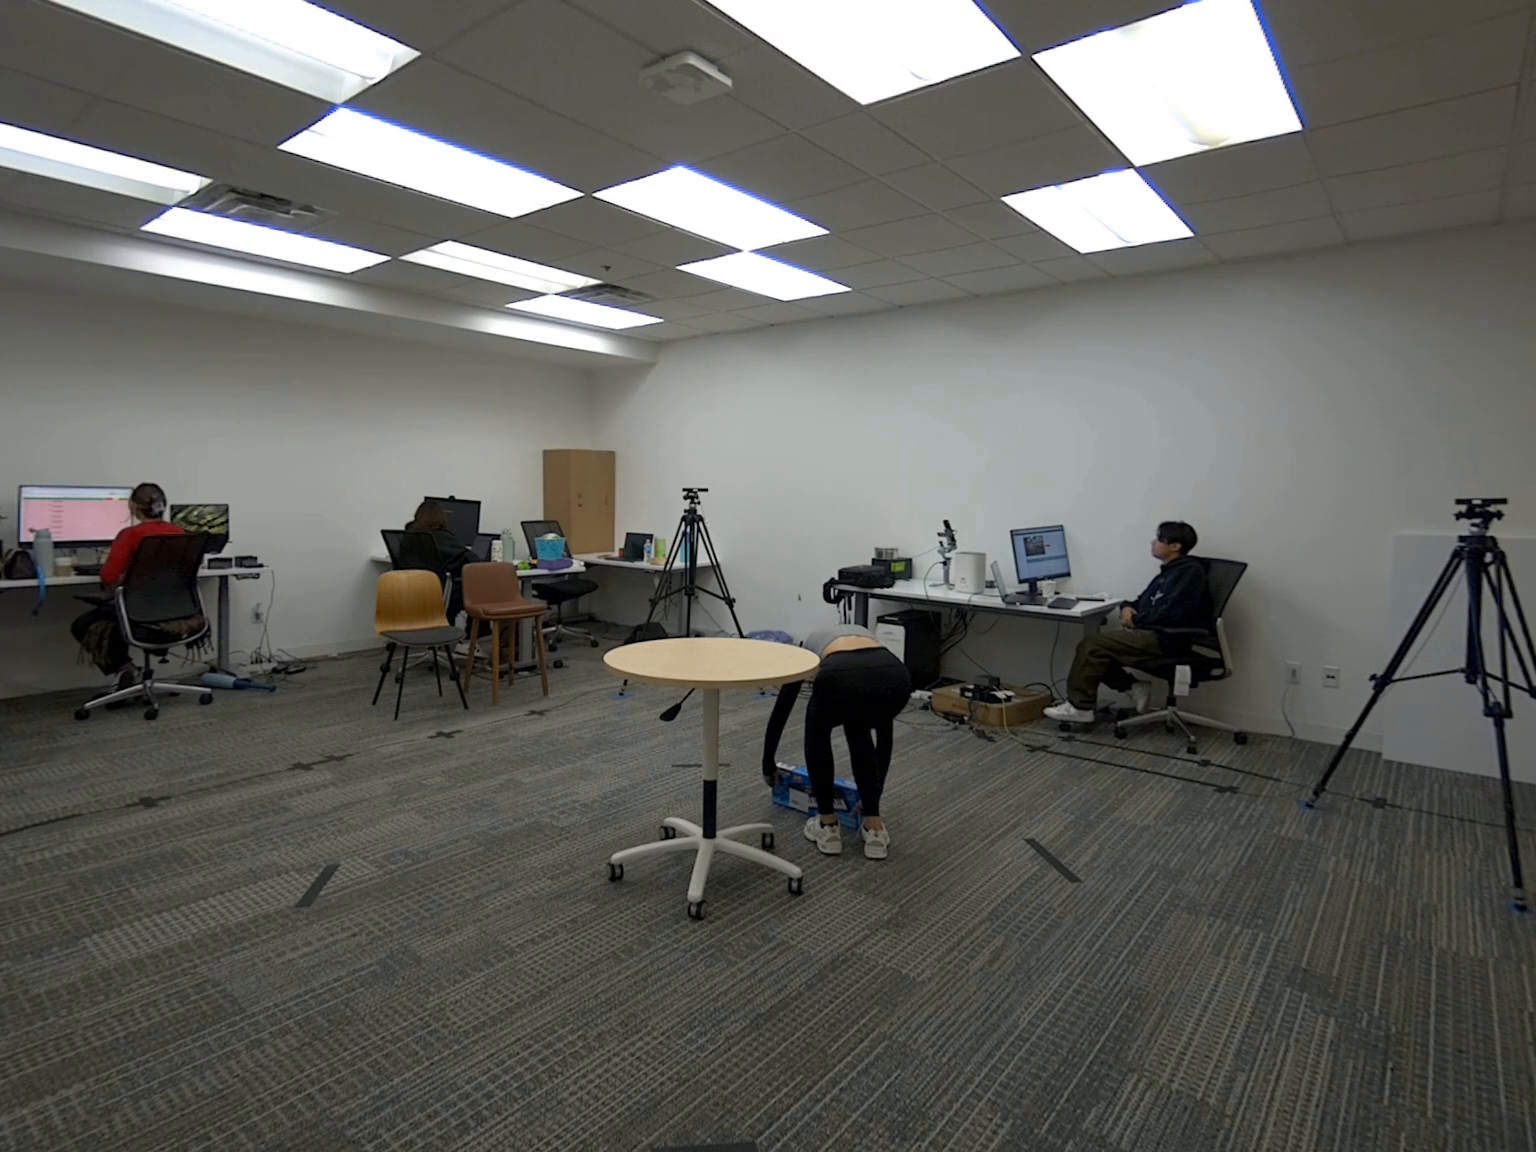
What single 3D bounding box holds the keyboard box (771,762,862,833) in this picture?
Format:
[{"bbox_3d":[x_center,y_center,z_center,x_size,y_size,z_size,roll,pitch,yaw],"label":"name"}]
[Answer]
[{"bbox_3d":[0.200,0.938,3.662,0.452,0.175,0.057,6,8,39],"label":"keyboard box"}]
